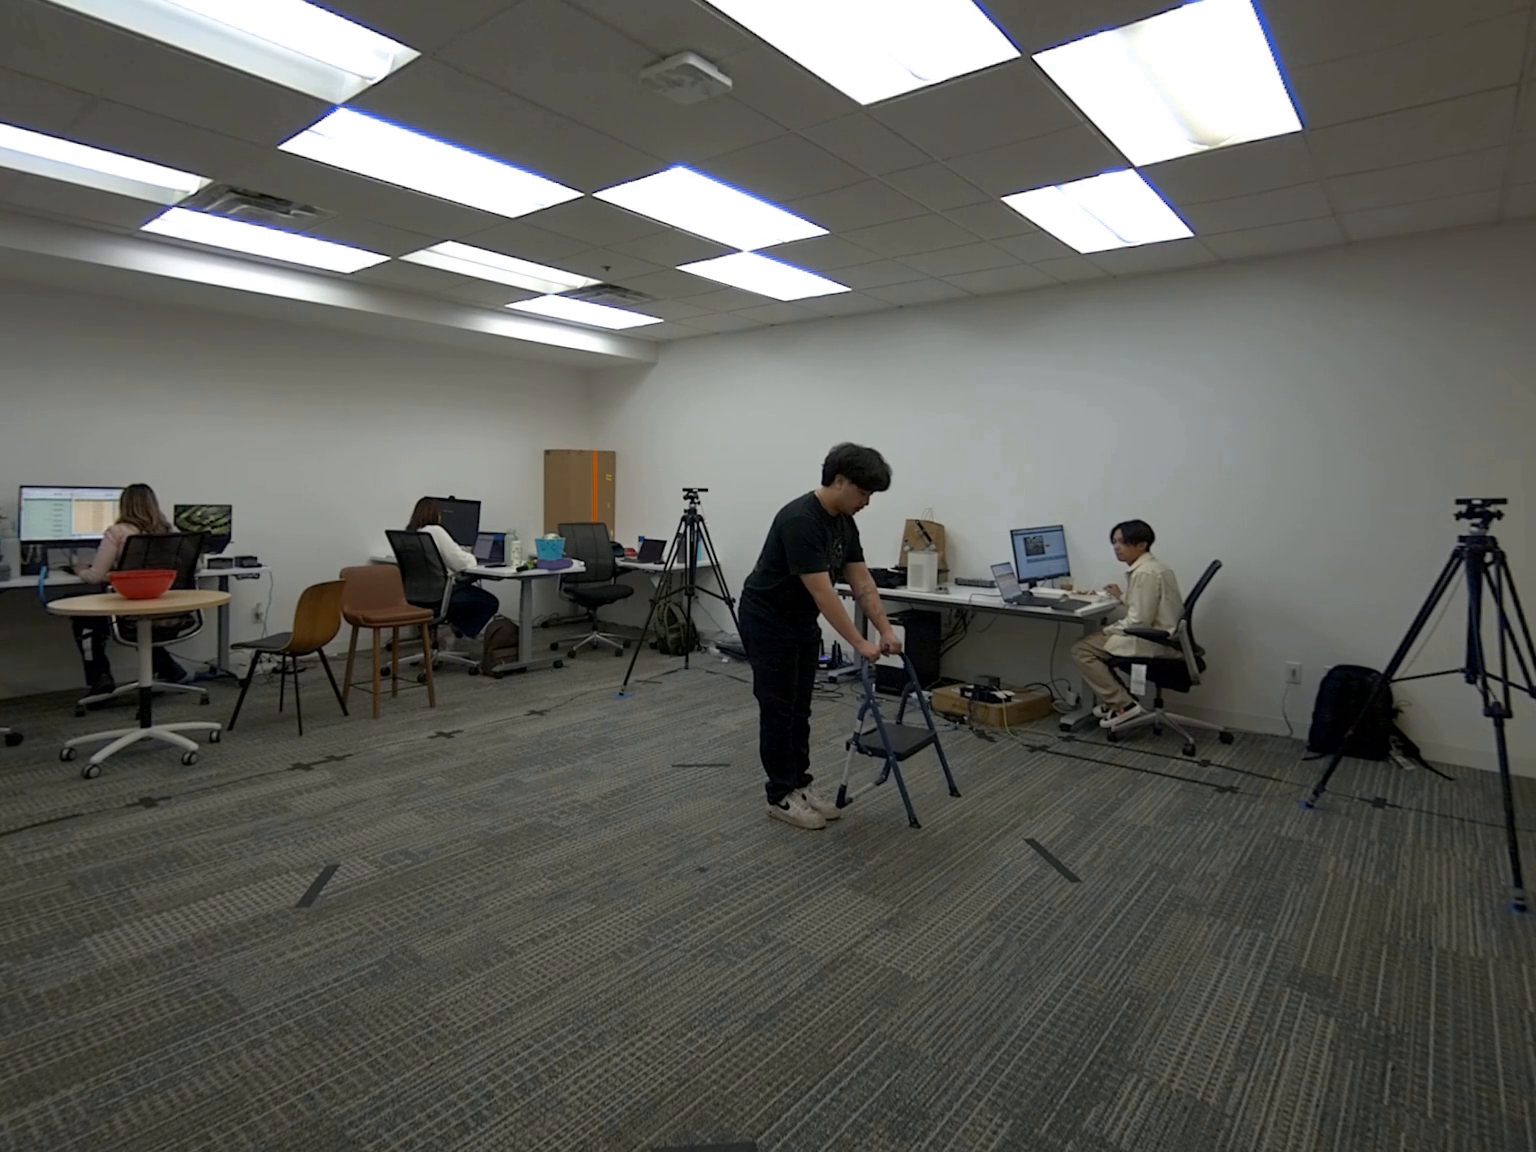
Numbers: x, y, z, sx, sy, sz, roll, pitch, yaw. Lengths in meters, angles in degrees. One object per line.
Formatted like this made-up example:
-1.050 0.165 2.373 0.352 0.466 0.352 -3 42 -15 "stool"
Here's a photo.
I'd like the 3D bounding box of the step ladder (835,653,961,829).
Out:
0.508 0.597 3.354 0.360 0.604 0.419 2 4 34 "step ladder"
